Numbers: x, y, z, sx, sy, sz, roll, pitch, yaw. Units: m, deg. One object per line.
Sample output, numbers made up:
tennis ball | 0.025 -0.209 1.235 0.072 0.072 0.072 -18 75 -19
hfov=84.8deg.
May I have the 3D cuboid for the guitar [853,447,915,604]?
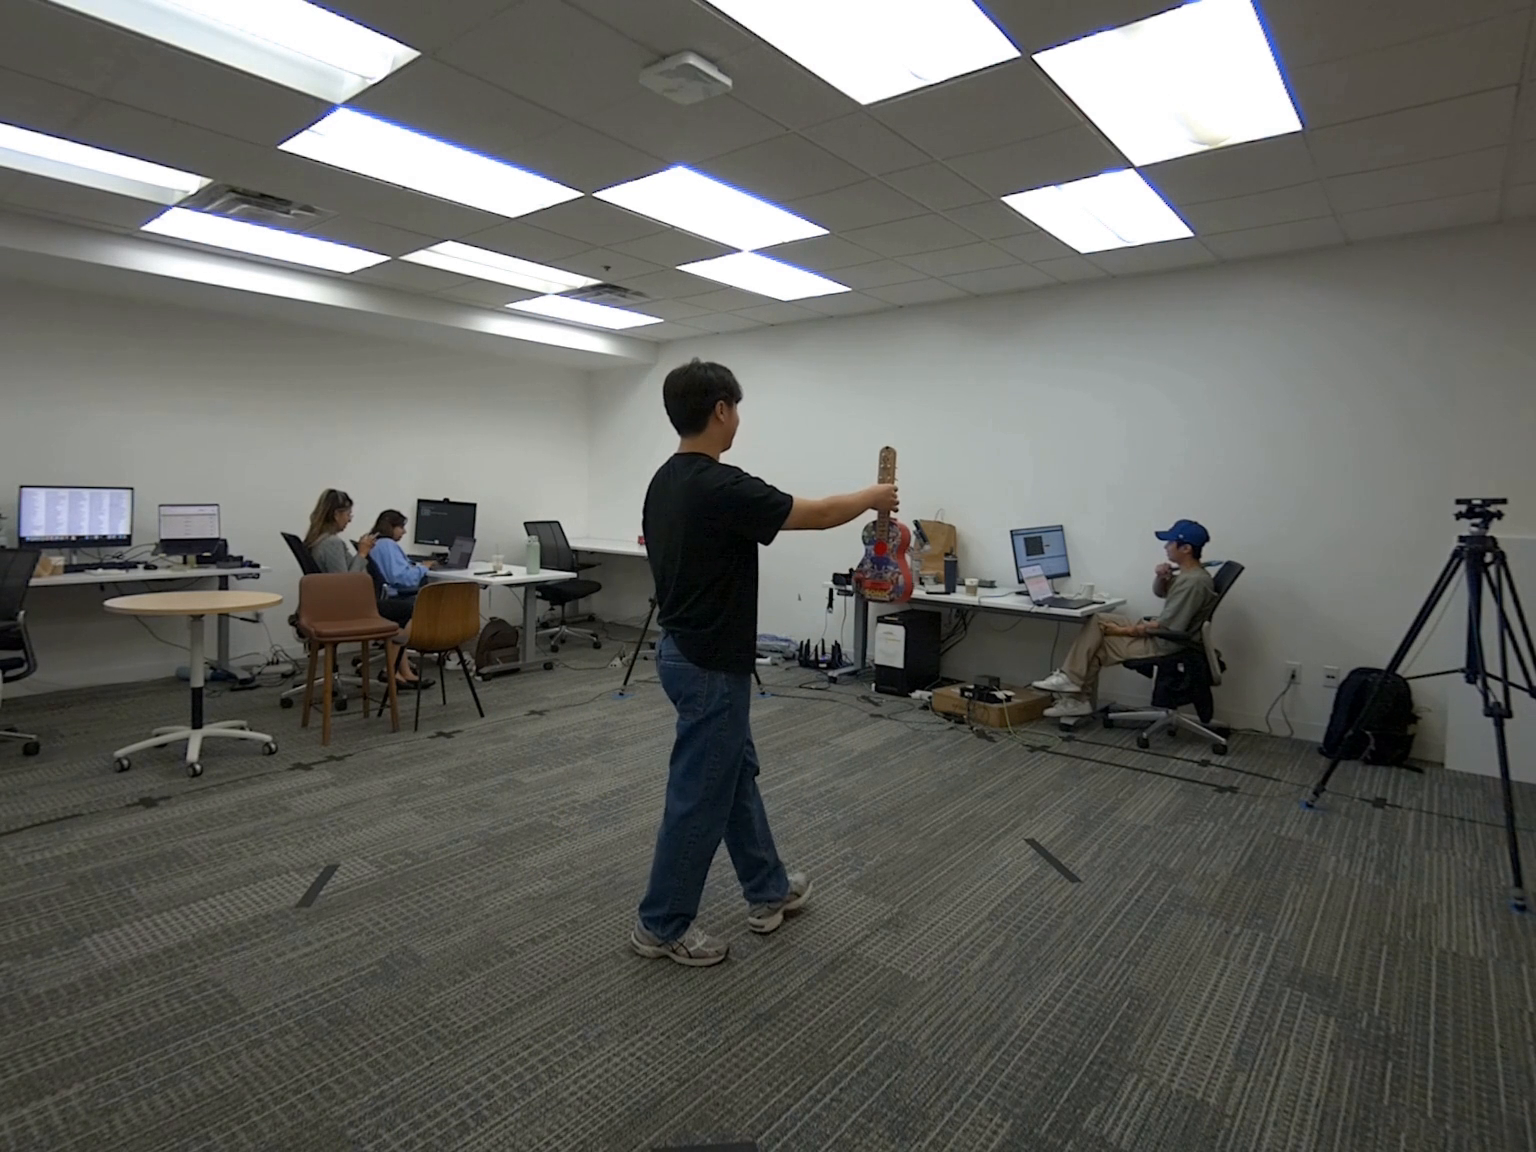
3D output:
guitar | 0.394 -0.156 2.702 0.200 0.496 0.068 16 6 40
